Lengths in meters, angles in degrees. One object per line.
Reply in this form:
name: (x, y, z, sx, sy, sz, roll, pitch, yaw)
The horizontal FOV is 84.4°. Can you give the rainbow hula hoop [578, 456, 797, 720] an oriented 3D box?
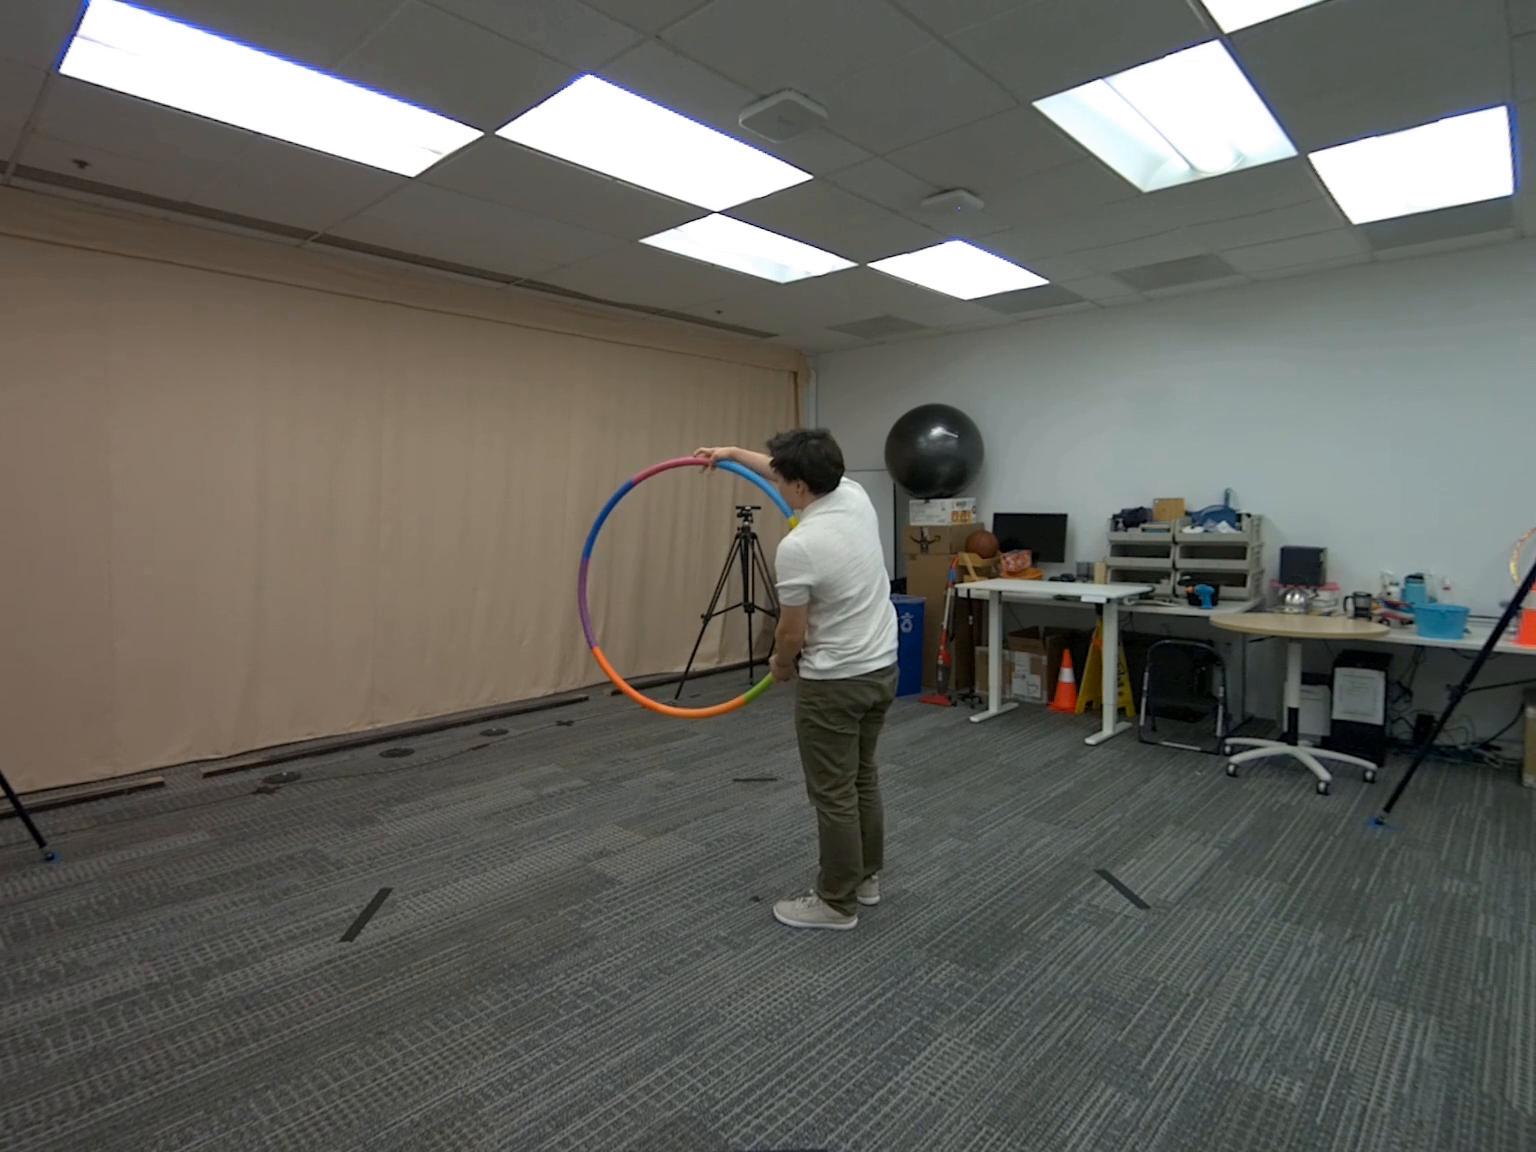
rainbow hula hoop: (-0.287, 0.029, 3.167, 1.004, 0.979, 0.034, 2, -1, 25)
